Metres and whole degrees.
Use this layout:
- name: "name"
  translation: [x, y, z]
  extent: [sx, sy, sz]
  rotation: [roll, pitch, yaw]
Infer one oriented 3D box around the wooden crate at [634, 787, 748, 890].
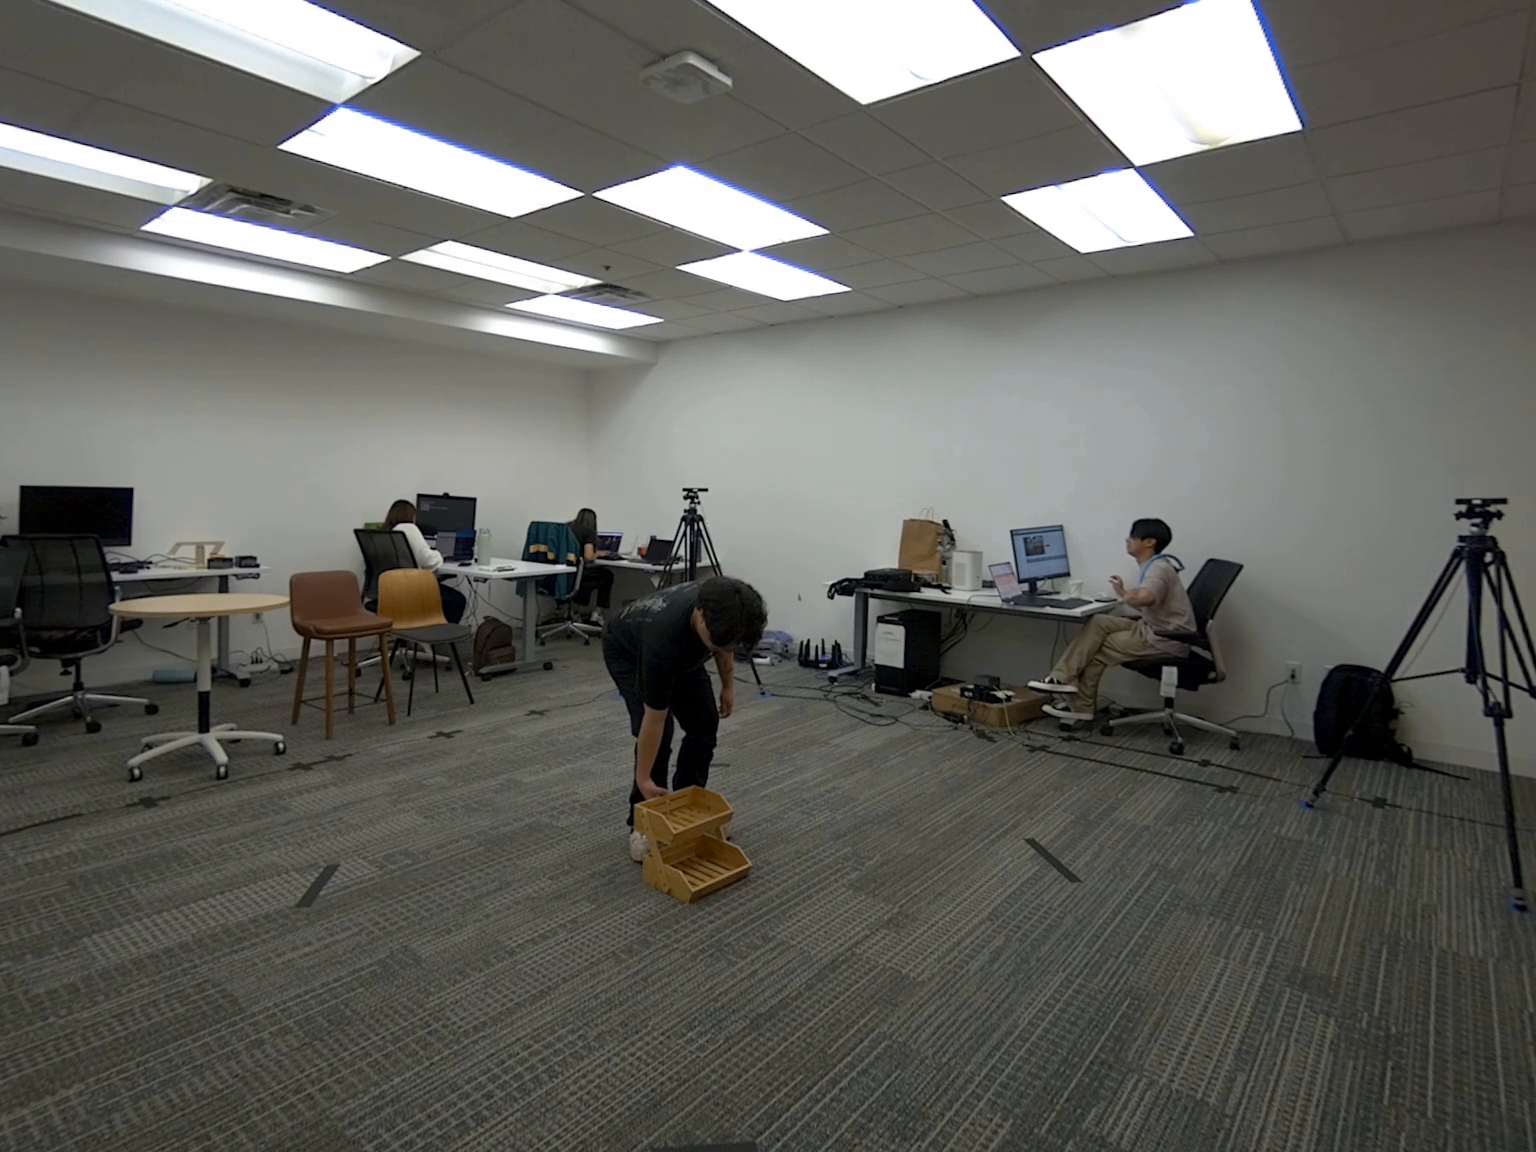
- name: "wooden crate"
  translation: [-0.279, 0.944, 3.037]
  extent: [0.312, 0.272, 0.315]
  rotation: [4, 6, 42]
